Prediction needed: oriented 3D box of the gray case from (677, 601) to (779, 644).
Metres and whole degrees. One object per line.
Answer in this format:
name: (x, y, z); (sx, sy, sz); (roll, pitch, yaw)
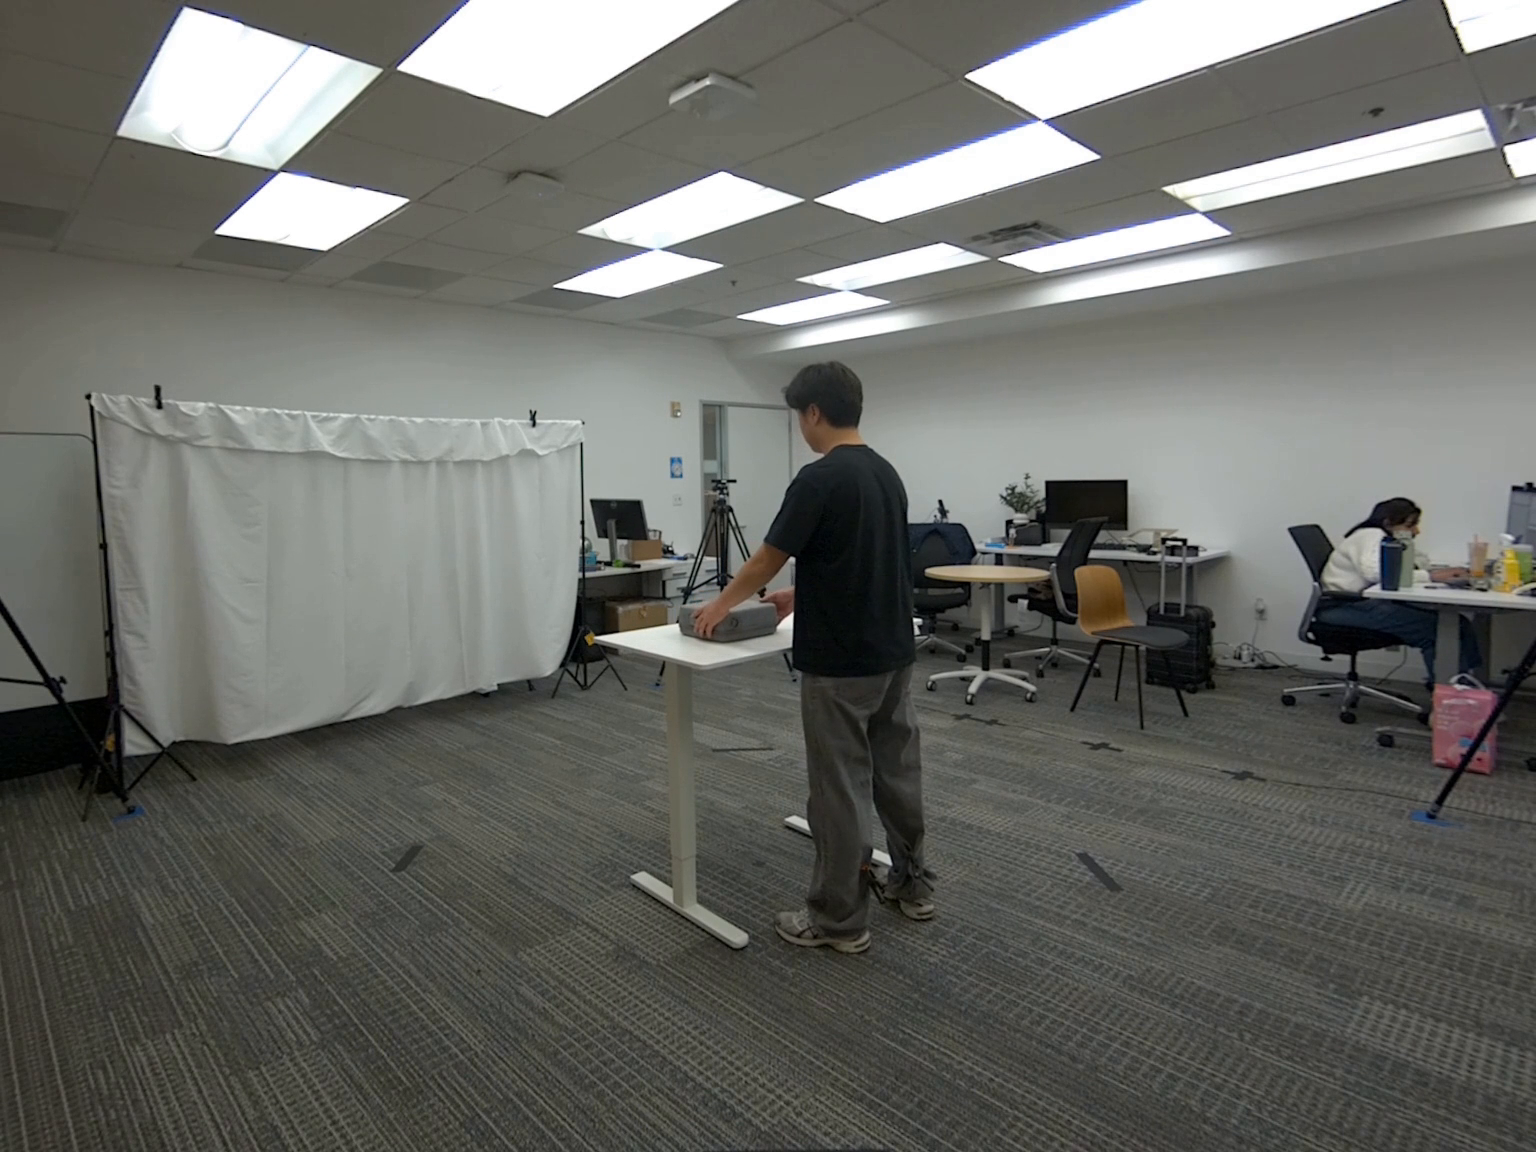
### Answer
gray case: (-0.146, 0.145, 2.858); (0.280, 0.102, 0.271); (-7, 8, -39)
